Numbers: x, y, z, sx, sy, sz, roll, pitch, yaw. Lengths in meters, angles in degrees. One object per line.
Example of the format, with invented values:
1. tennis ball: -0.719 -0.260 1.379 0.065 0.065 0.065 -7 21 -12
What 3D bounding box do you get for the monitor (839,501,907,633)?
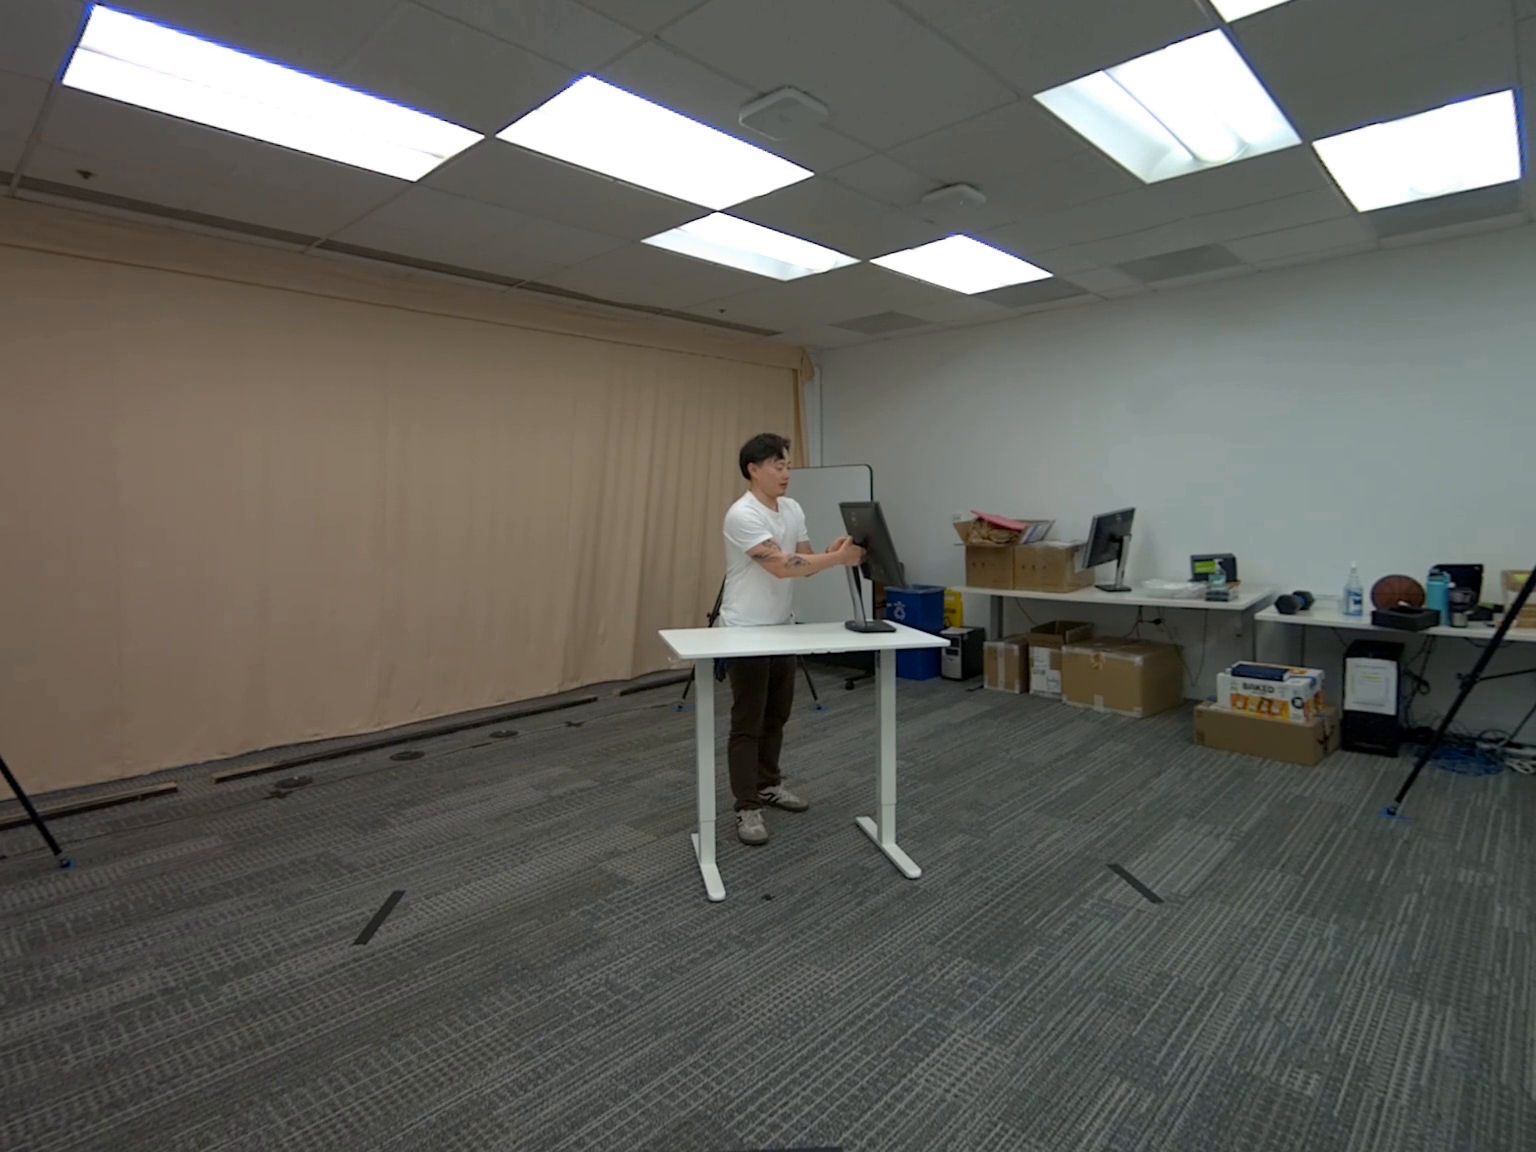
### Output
1. monitor: 0.397 -0.037 3.427 0.185 0.521 0.546 -5 5 -11
